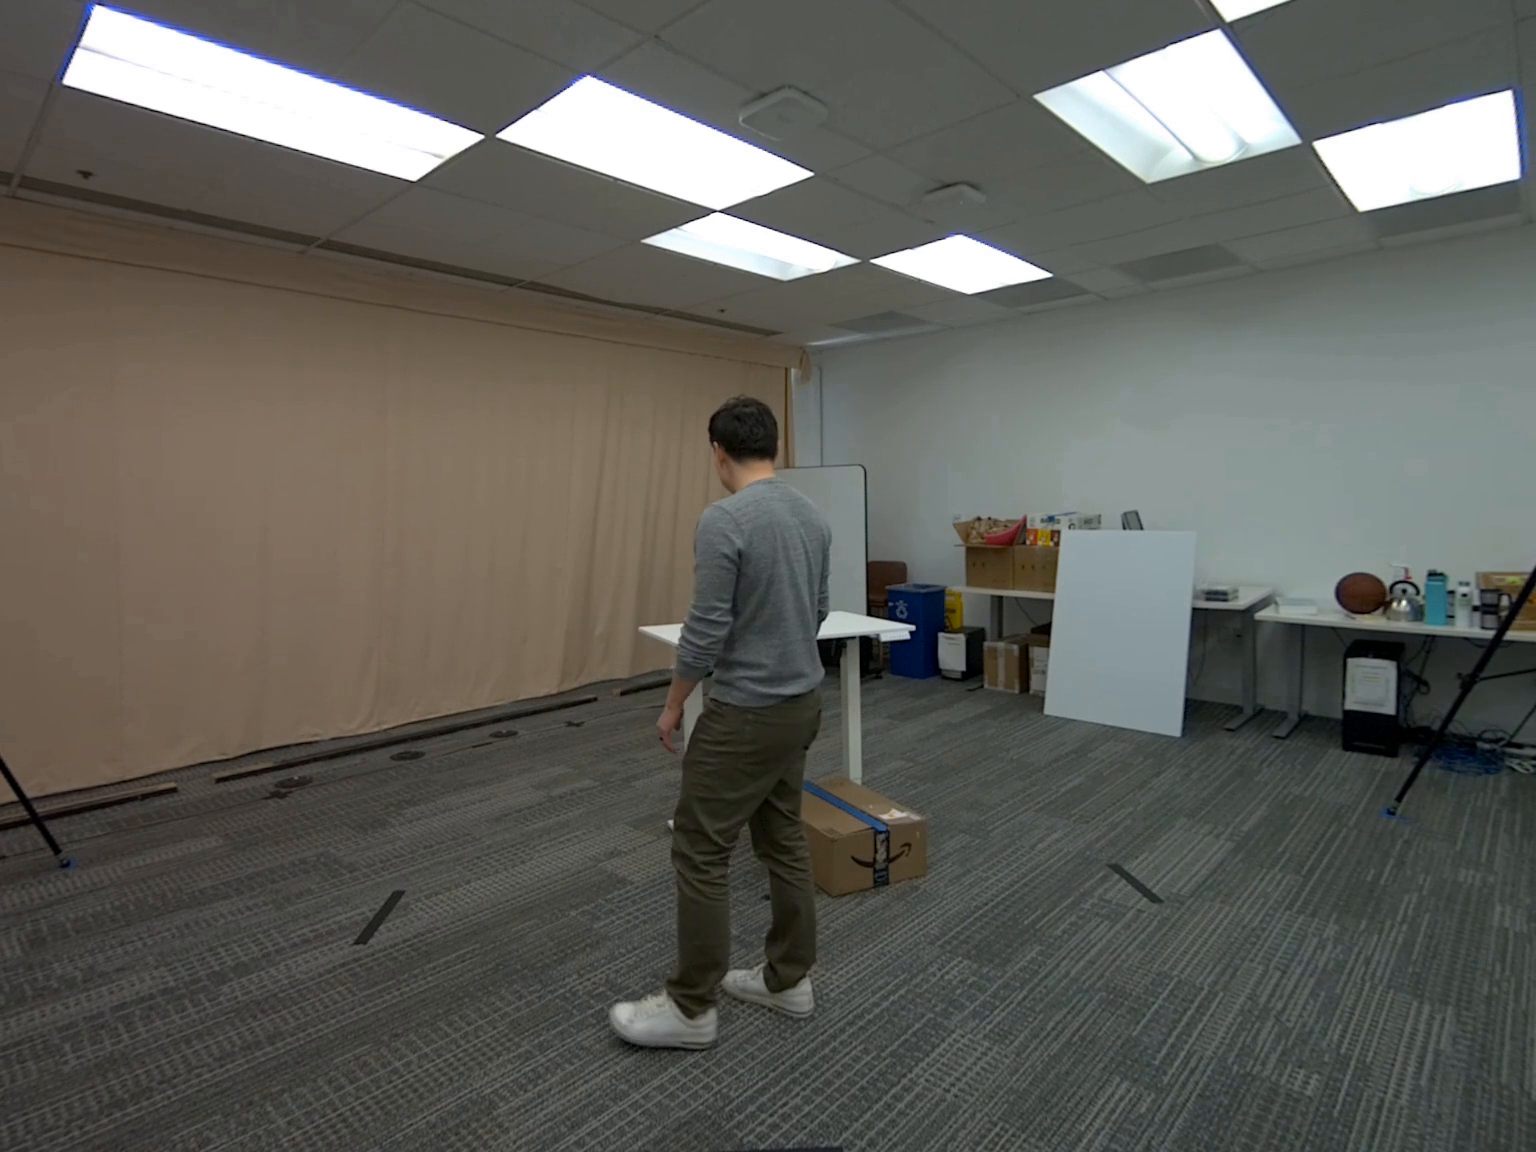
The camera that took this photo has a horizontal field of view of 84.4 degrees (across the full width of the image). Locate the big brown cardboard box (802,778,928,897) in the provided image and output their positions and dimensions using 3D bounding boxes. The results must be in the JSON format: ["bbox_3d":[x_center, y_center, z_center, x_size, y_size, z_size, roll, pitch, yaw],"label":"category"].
[{"bbox_3d":[0.281,0.994,3.295,0.407,0.232,0.605,-3,5,-27],"label":"big brown cardboard box"}]
